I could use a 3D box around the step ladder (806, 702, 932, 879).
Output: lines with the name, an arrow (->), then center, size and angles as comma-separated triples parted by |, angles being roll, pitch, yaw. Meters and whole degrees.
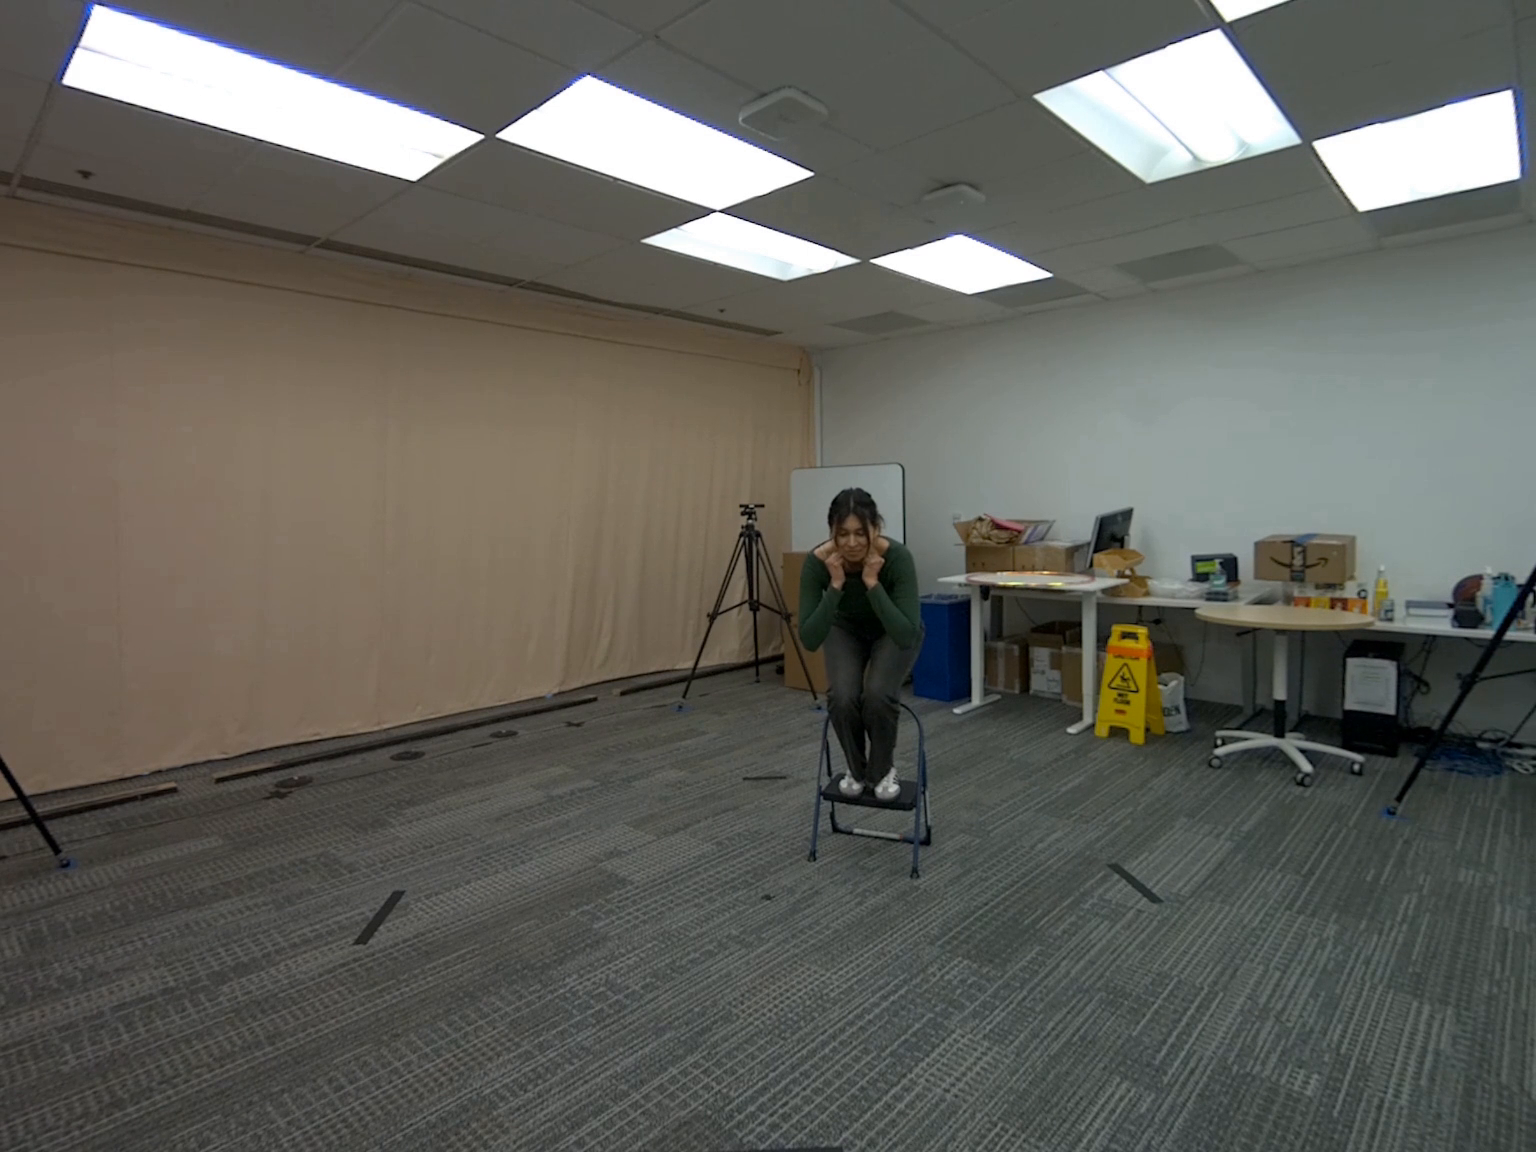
step ladder -> 0.417, 0.800, 3.340 | 0.440, 0.605, 0.342 | 1, 3, 22
